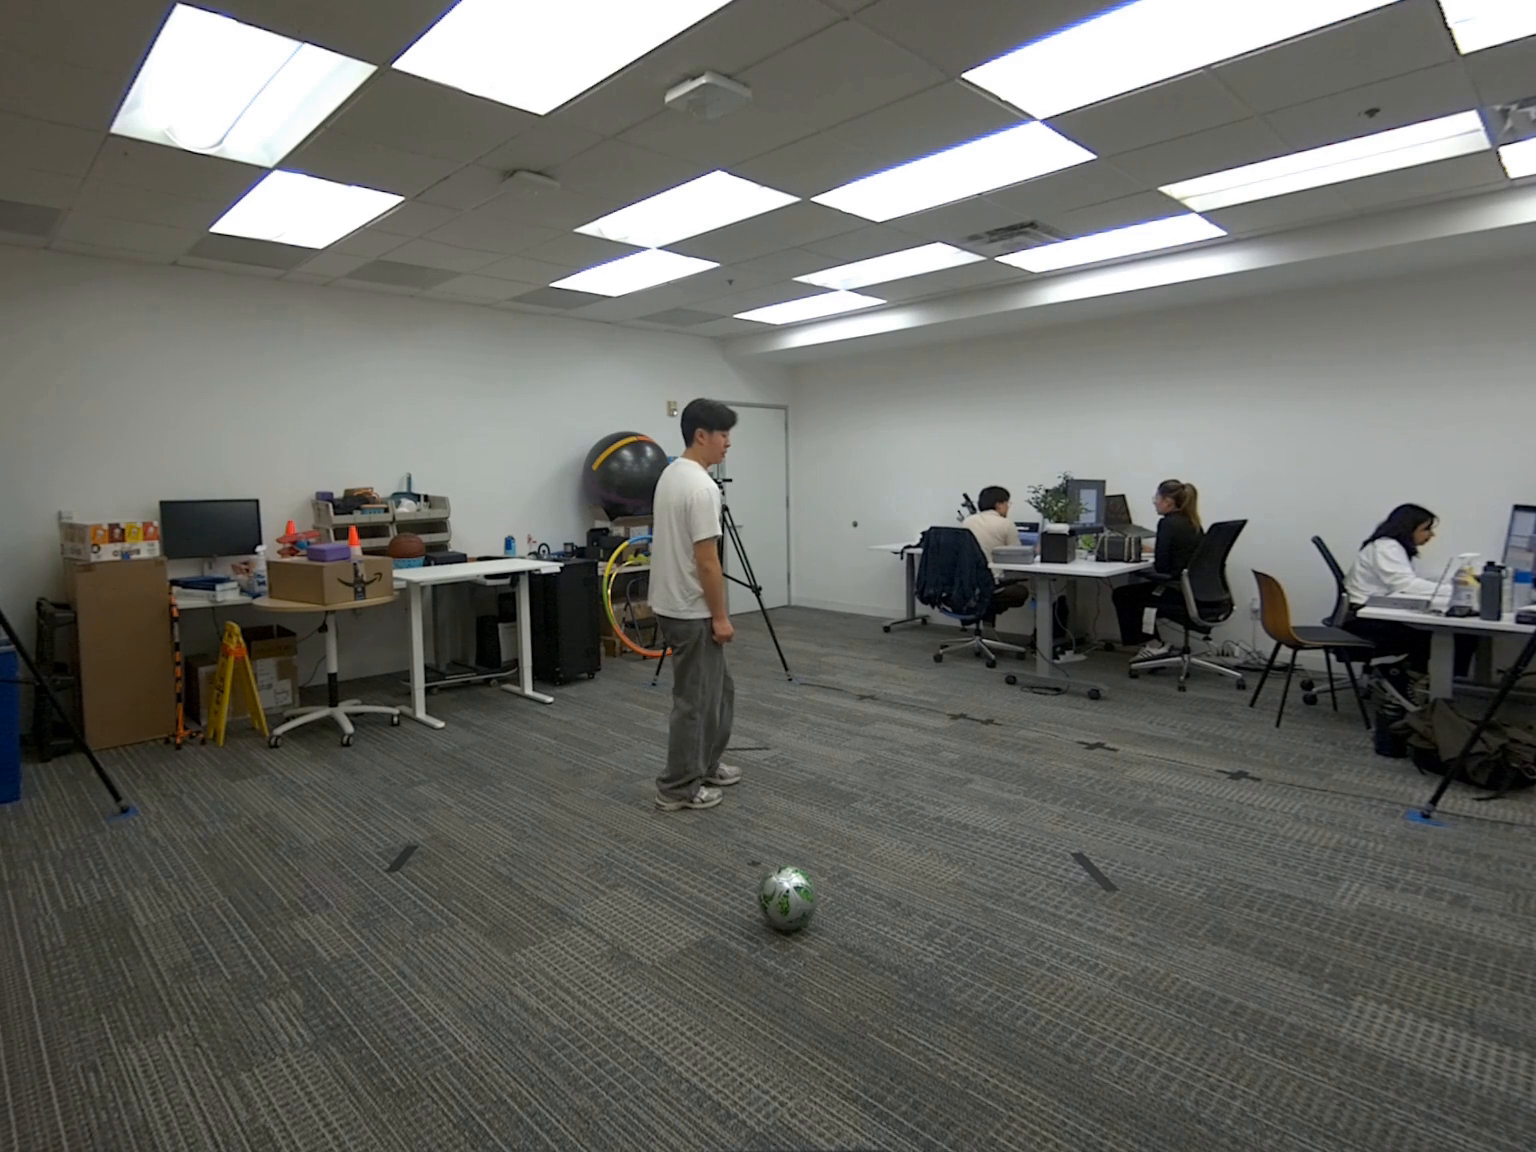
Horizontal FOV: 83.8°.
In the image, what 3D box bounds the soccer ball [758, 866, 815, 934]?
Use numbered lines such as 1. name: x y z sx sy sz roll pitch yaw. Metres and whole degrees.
1. soccer ball: 0.067 1.003 2.664 0.187 0.187 0.188 -1 5 -2
